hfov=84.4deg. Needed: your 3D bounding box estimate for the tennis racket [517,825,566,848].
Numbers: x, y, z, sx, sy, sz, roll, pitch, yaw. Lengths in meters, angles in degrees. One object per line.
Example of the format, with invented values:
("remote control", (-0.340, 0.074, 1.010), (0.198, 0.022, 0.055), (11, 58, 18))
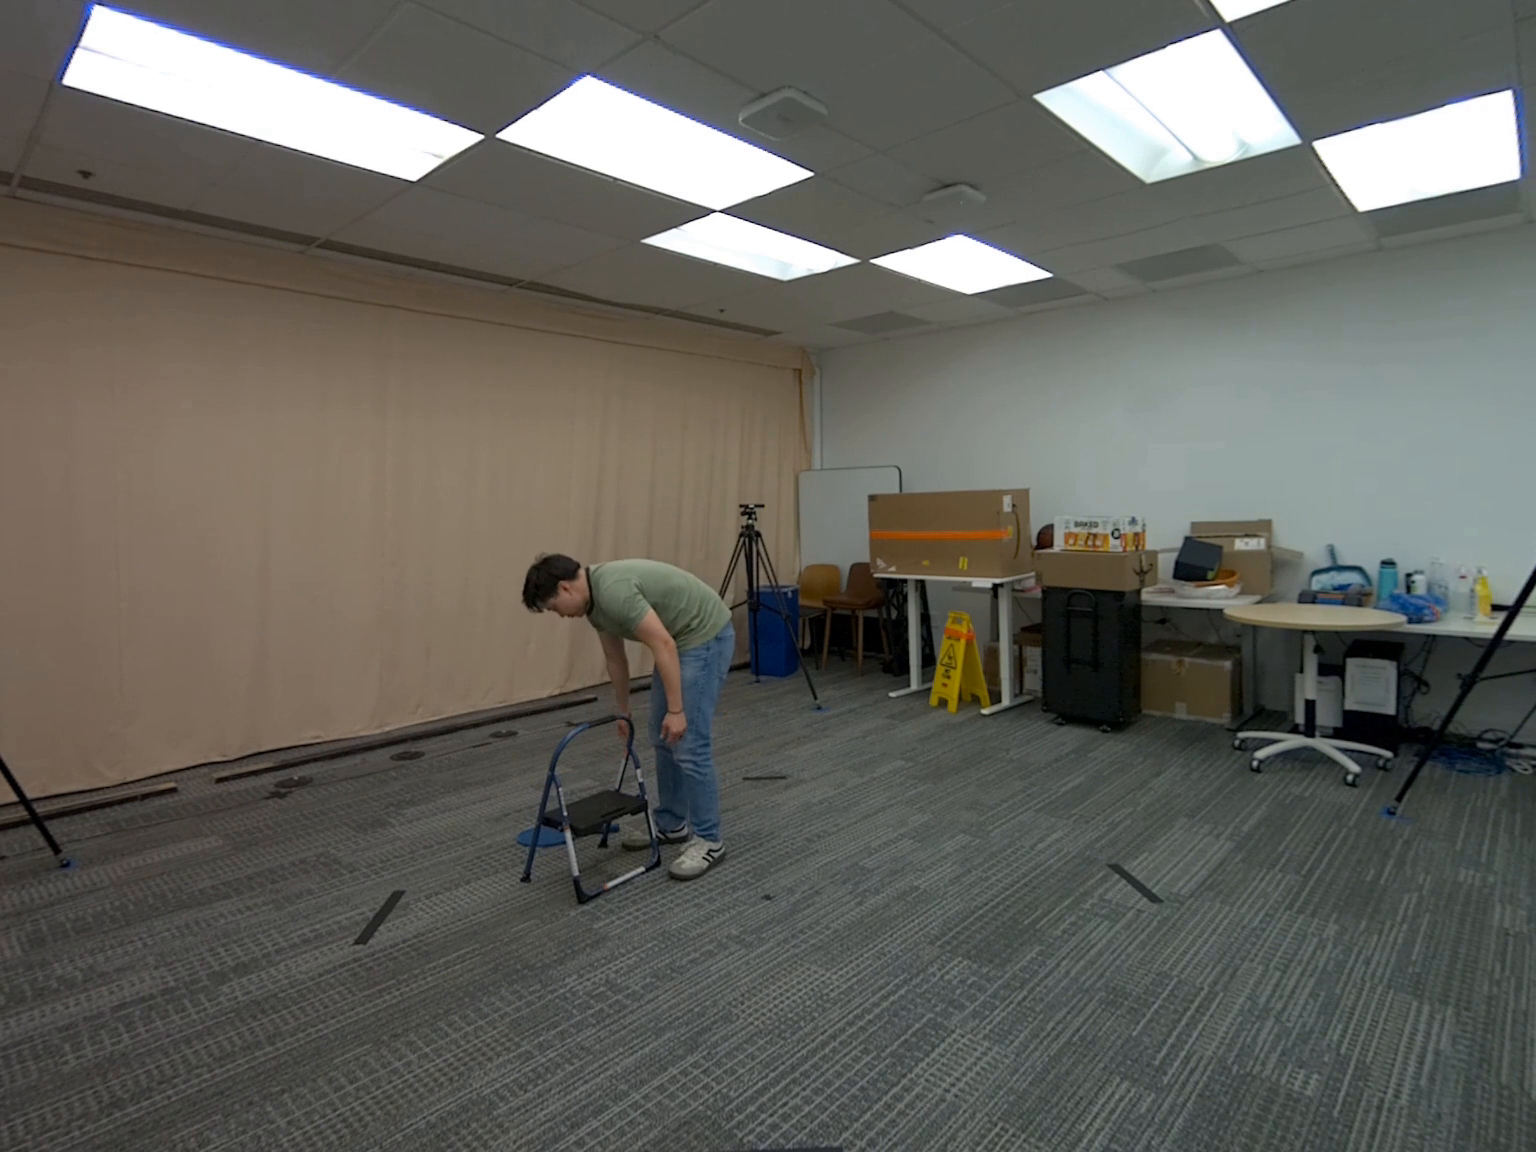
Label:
("tennis racket", (-0.850, 1.096, 3.589), (0.429, 0.031, 0.216), (-4, 6, -9))
